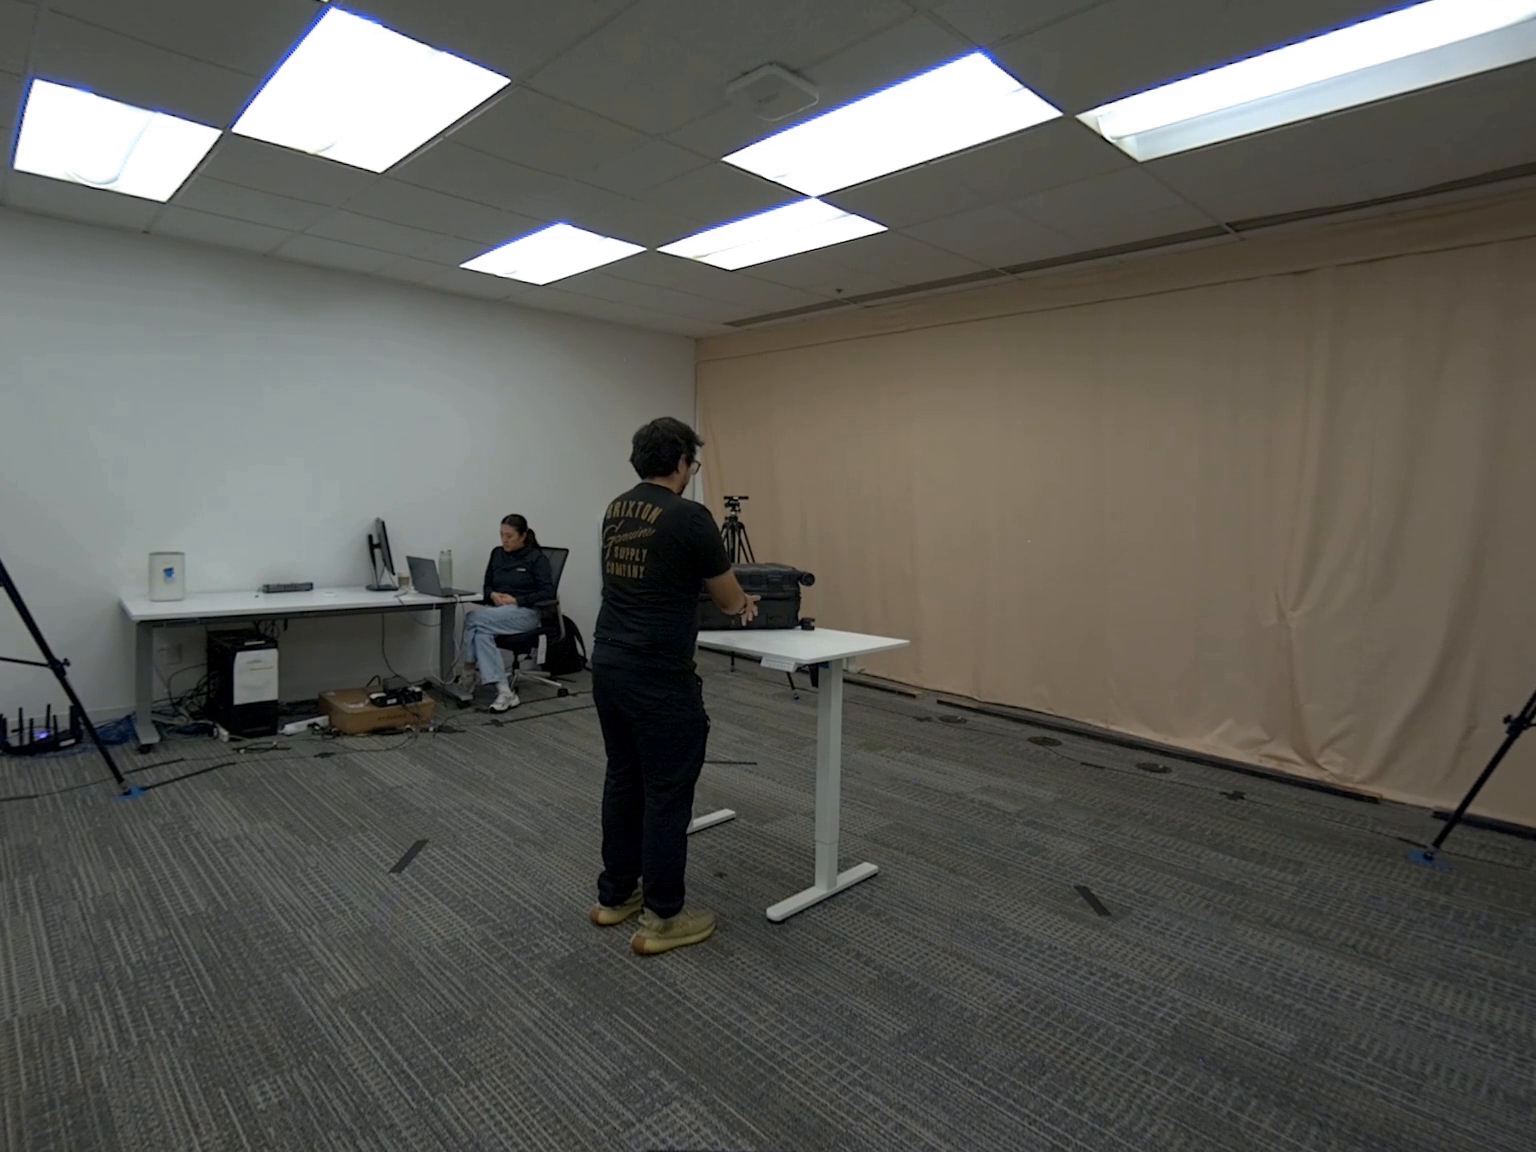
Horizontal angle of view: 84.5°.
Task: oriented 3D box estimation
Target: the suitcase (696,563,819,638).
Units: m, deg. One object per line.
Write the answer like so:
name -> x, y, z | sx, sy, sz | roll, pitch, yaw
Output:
suitcase -> -0.130, 0.085, 3.380 | 0.542, 0.248, 0.381 | 0, 4, -17
